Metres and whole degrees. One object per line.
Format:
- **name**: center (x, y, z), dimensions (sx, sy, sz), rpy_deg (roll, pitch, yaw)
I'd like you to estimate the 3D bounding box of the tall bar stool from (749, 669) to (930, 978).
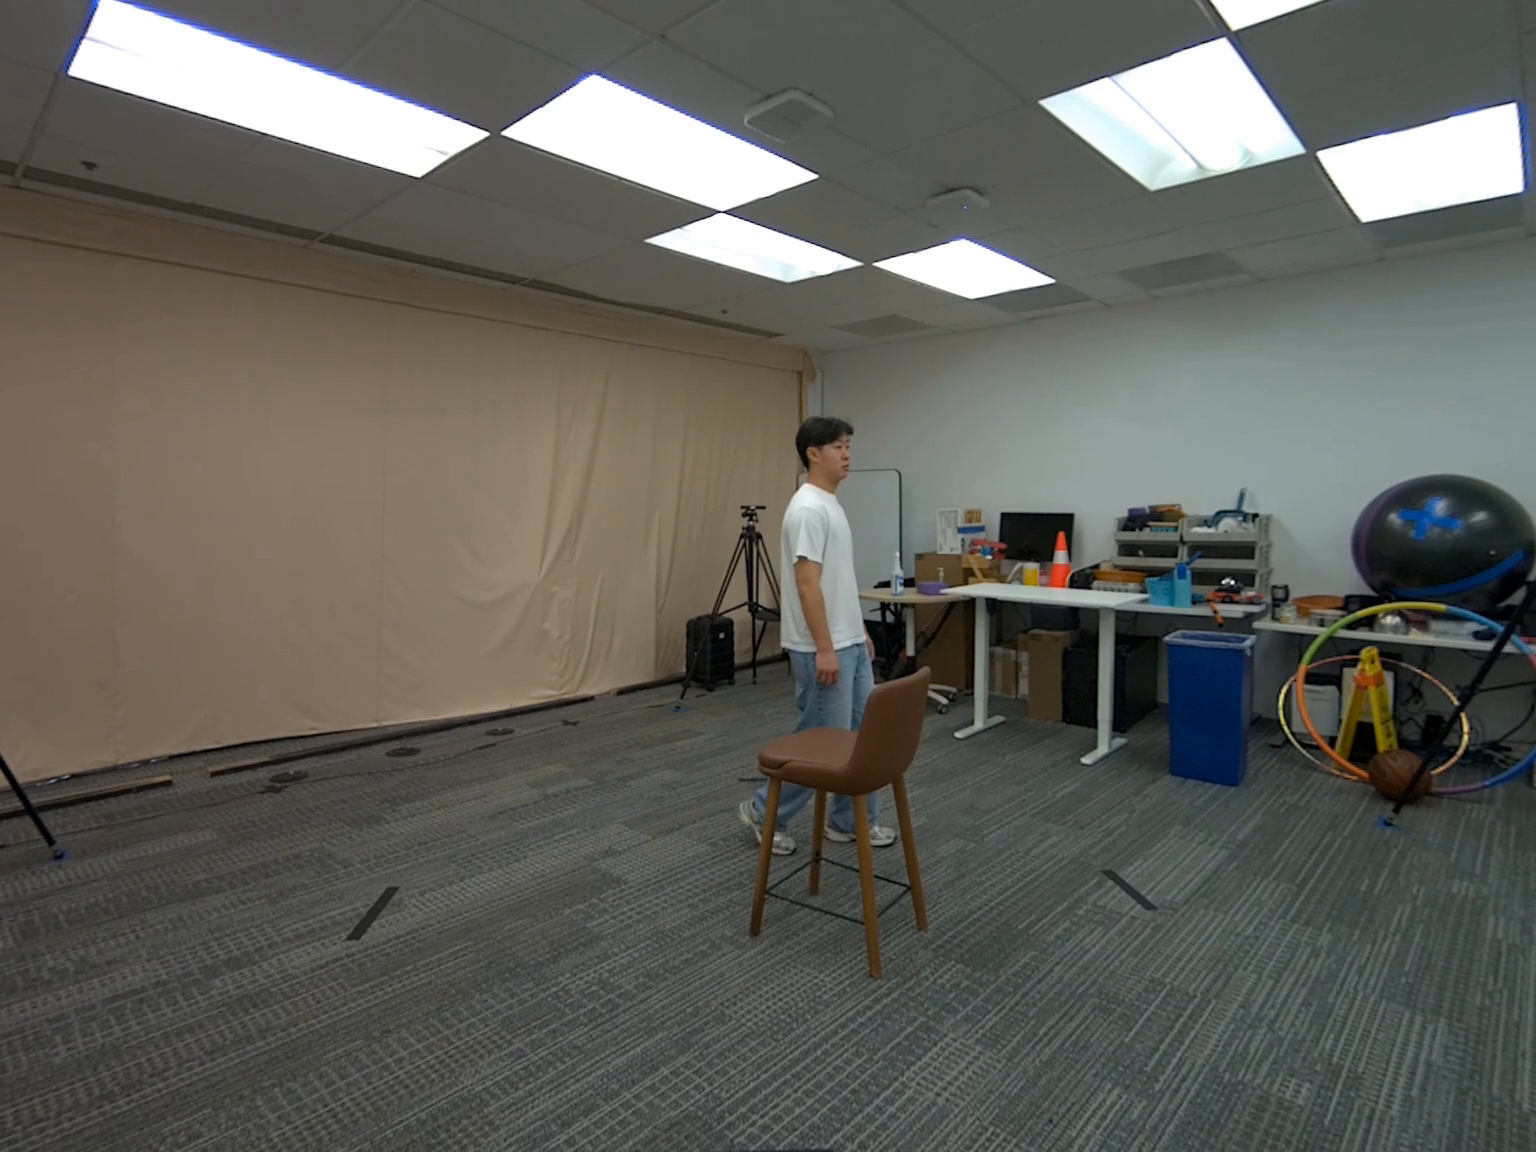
- **tall bar stool**: center (0.242, 0.727, 2.729), dimensions (0.483, 0.887, 0.443), rpy_deg (5, 6, 35)
